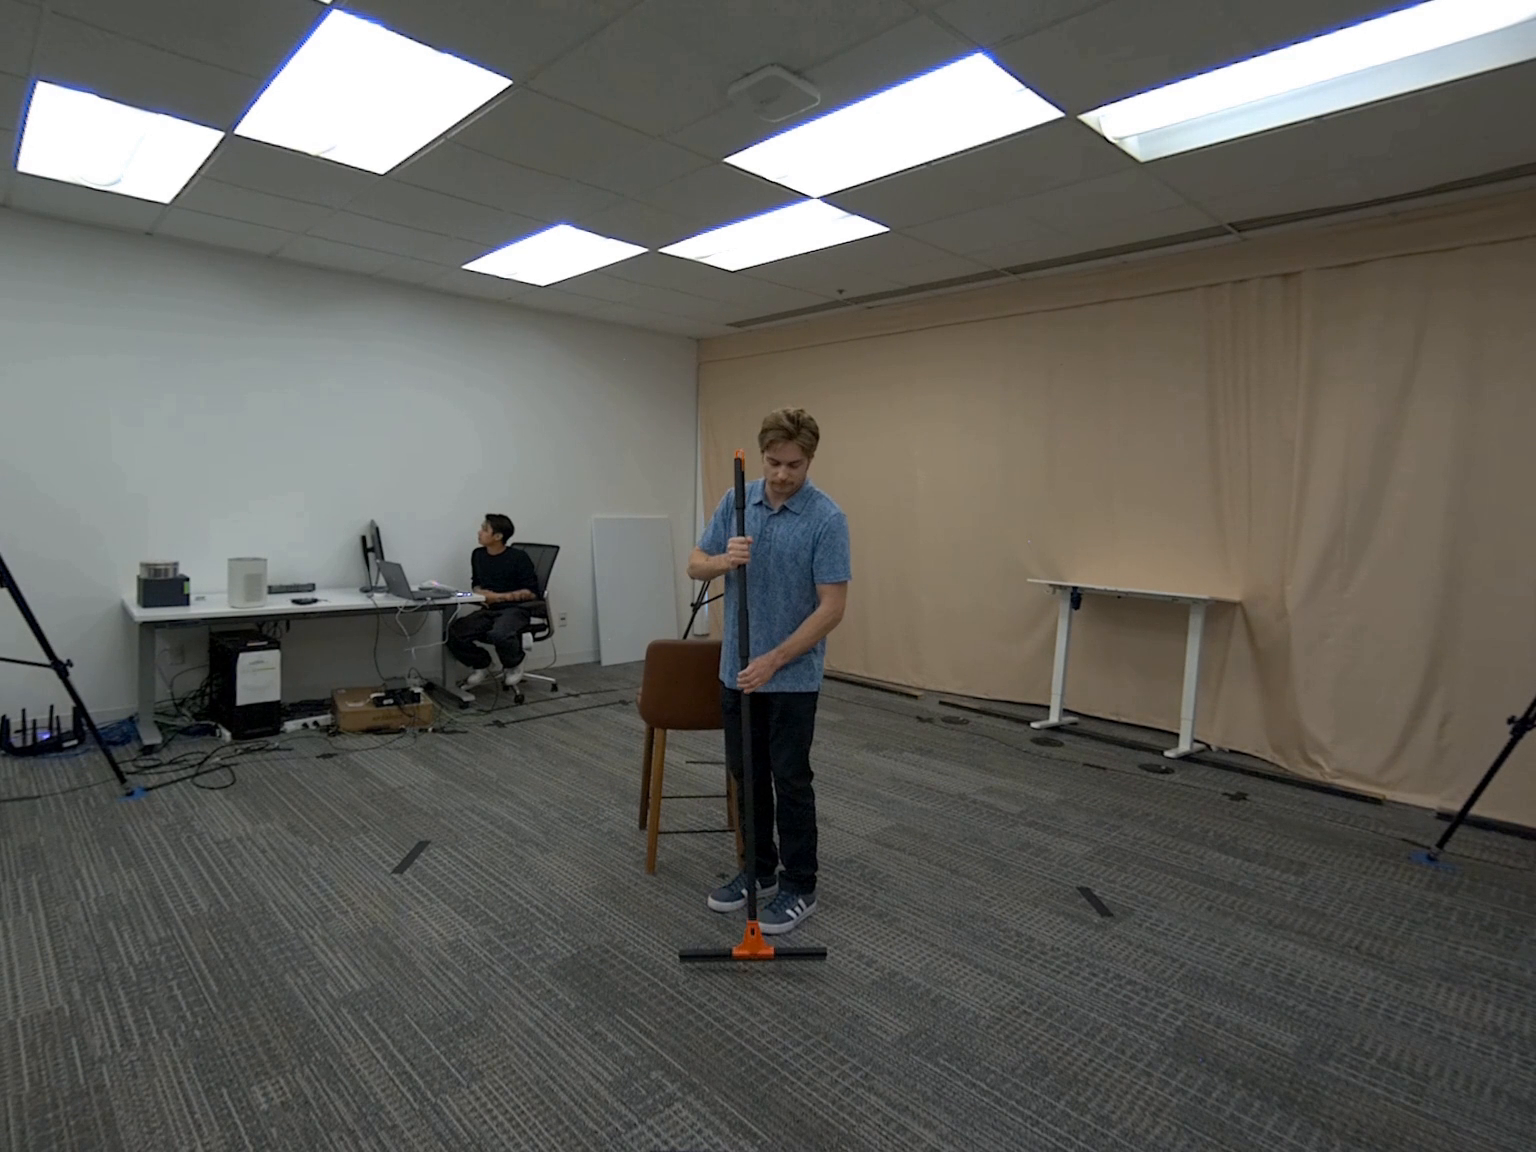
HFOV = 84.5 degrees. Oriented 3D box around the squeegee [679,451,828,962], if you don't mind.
[{"bbox_3d":[-0.082,0.396,2.541,0.439,1.545,0.052,-4,-6,5],"label":"squeegee"}]
